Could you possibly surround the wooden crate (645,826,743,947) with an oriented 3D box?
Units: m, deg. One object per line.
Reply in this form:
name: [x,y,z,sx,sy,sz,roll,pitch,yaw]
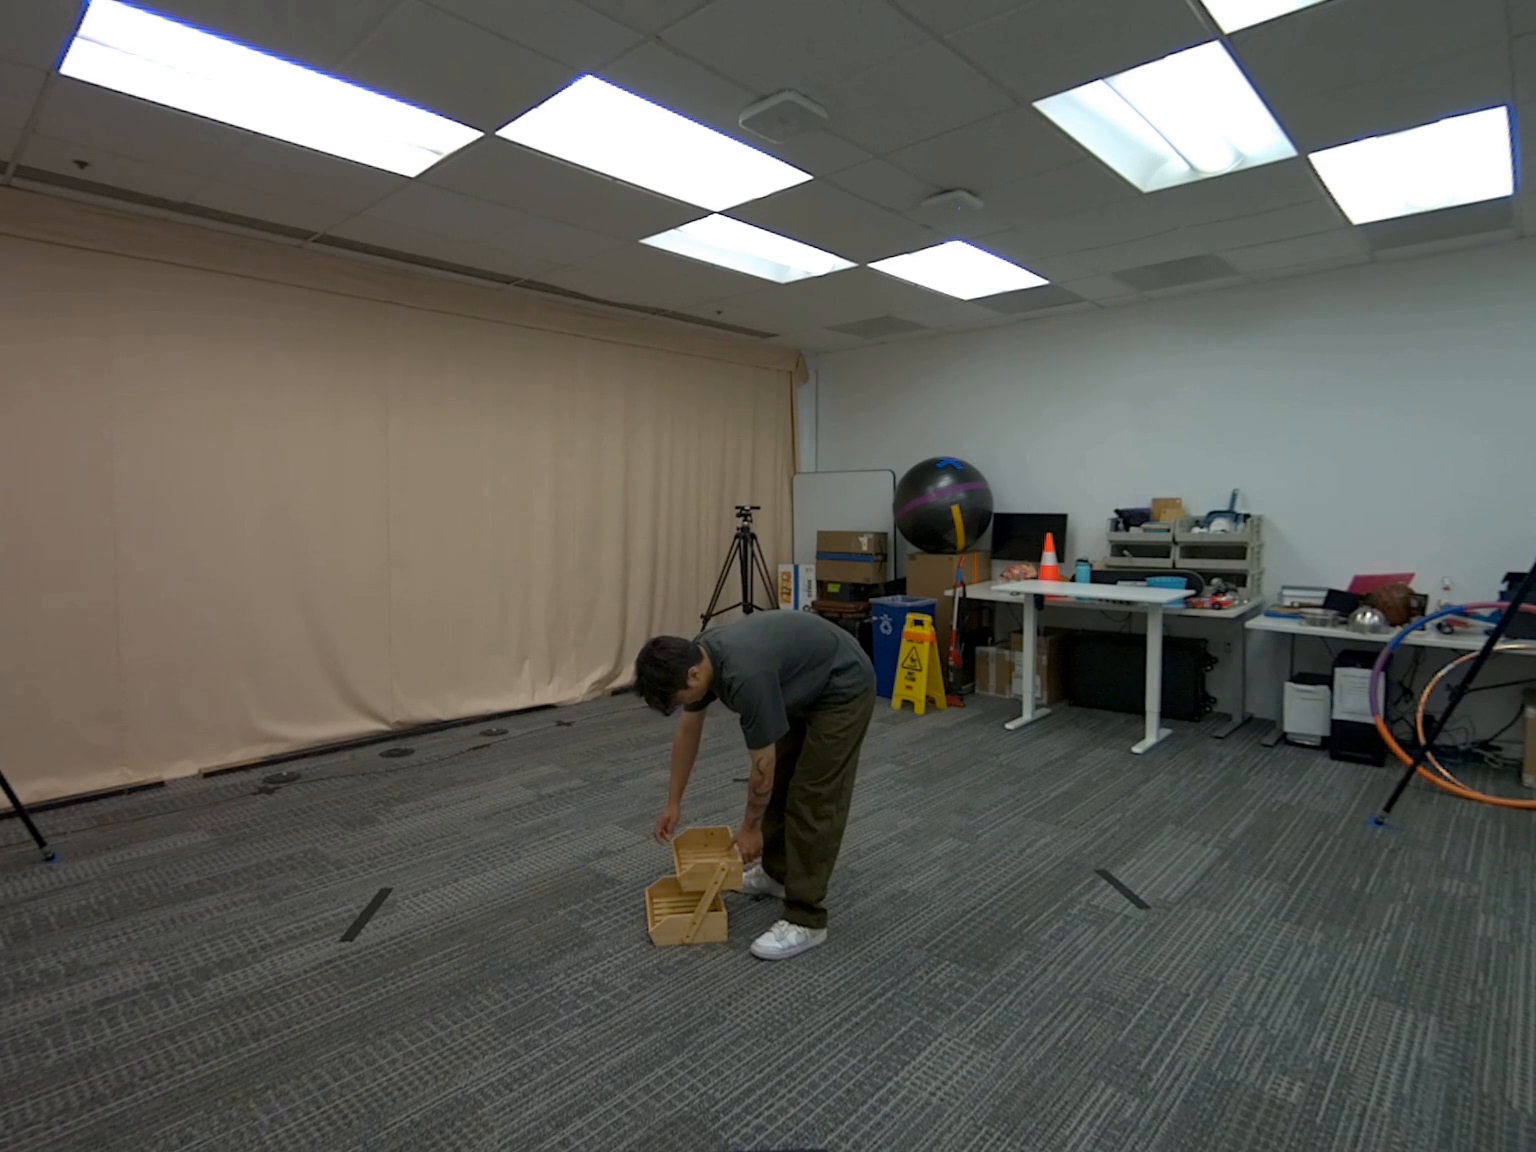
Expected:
wooden crate: [-0.262,1.032,2.828,0.299,0.273,0.328,-1,4,-10]
